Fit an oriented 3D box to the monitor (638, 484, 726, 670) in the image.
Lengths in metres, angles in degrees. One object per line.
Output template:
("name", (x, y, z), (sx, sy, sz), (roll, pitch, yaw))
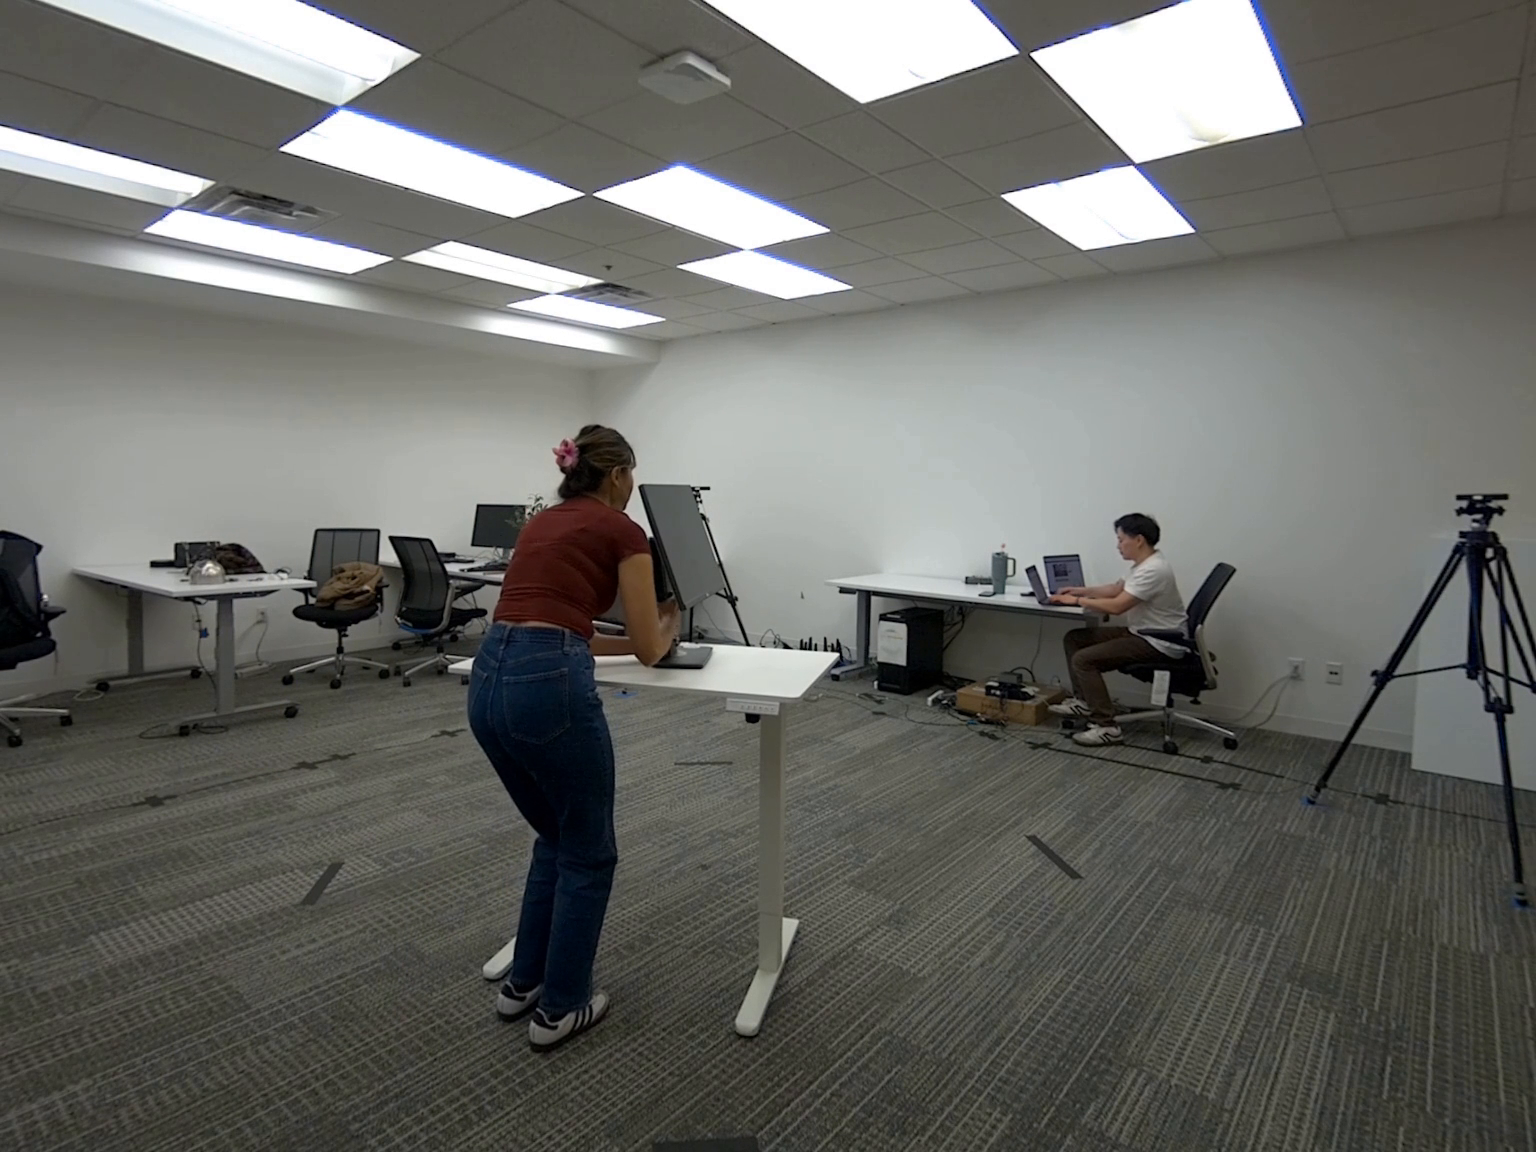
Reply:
("monitor", (-0.274, -0.010, 2.507), (0.189, 0.521, 0.536), (-3, 4, 6))
